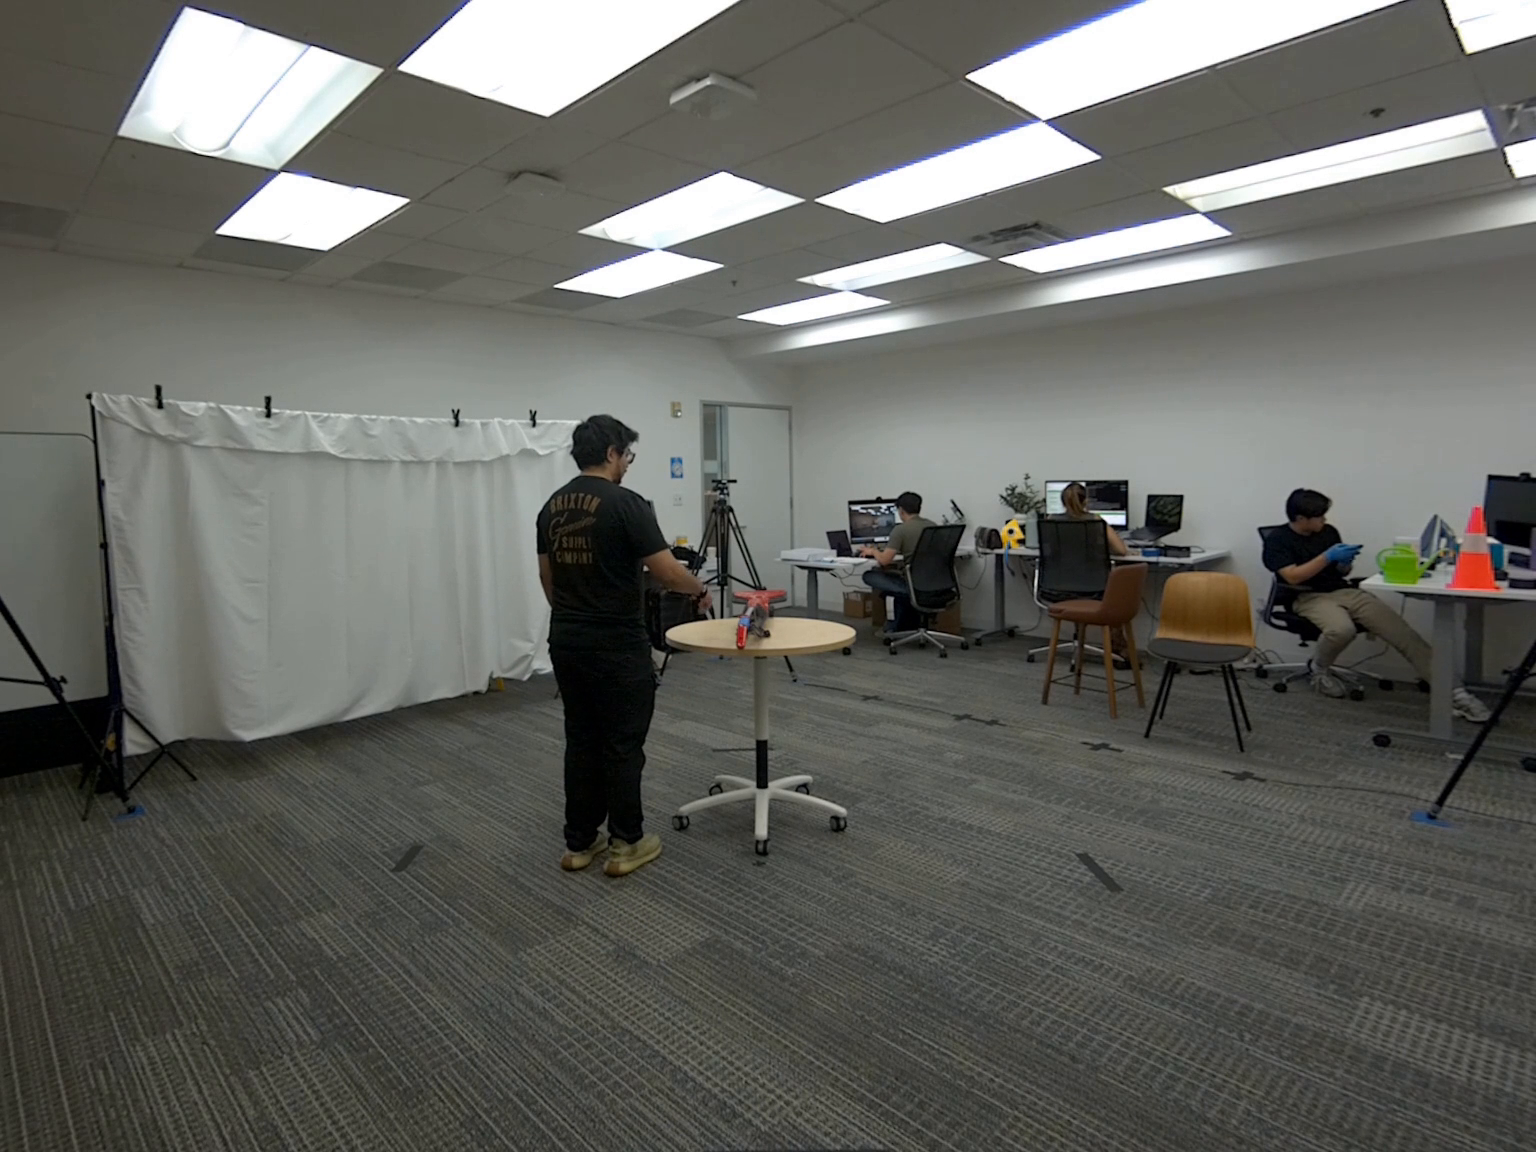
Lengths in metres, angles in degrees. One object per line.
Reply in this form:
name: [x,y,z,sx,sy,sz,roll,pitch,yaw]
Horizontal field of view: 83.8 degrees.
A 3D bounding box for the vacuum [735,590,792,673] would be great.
vacuum: [-0.066,0.178,3.350,0.254,0.143,1.047,3,5,3]
